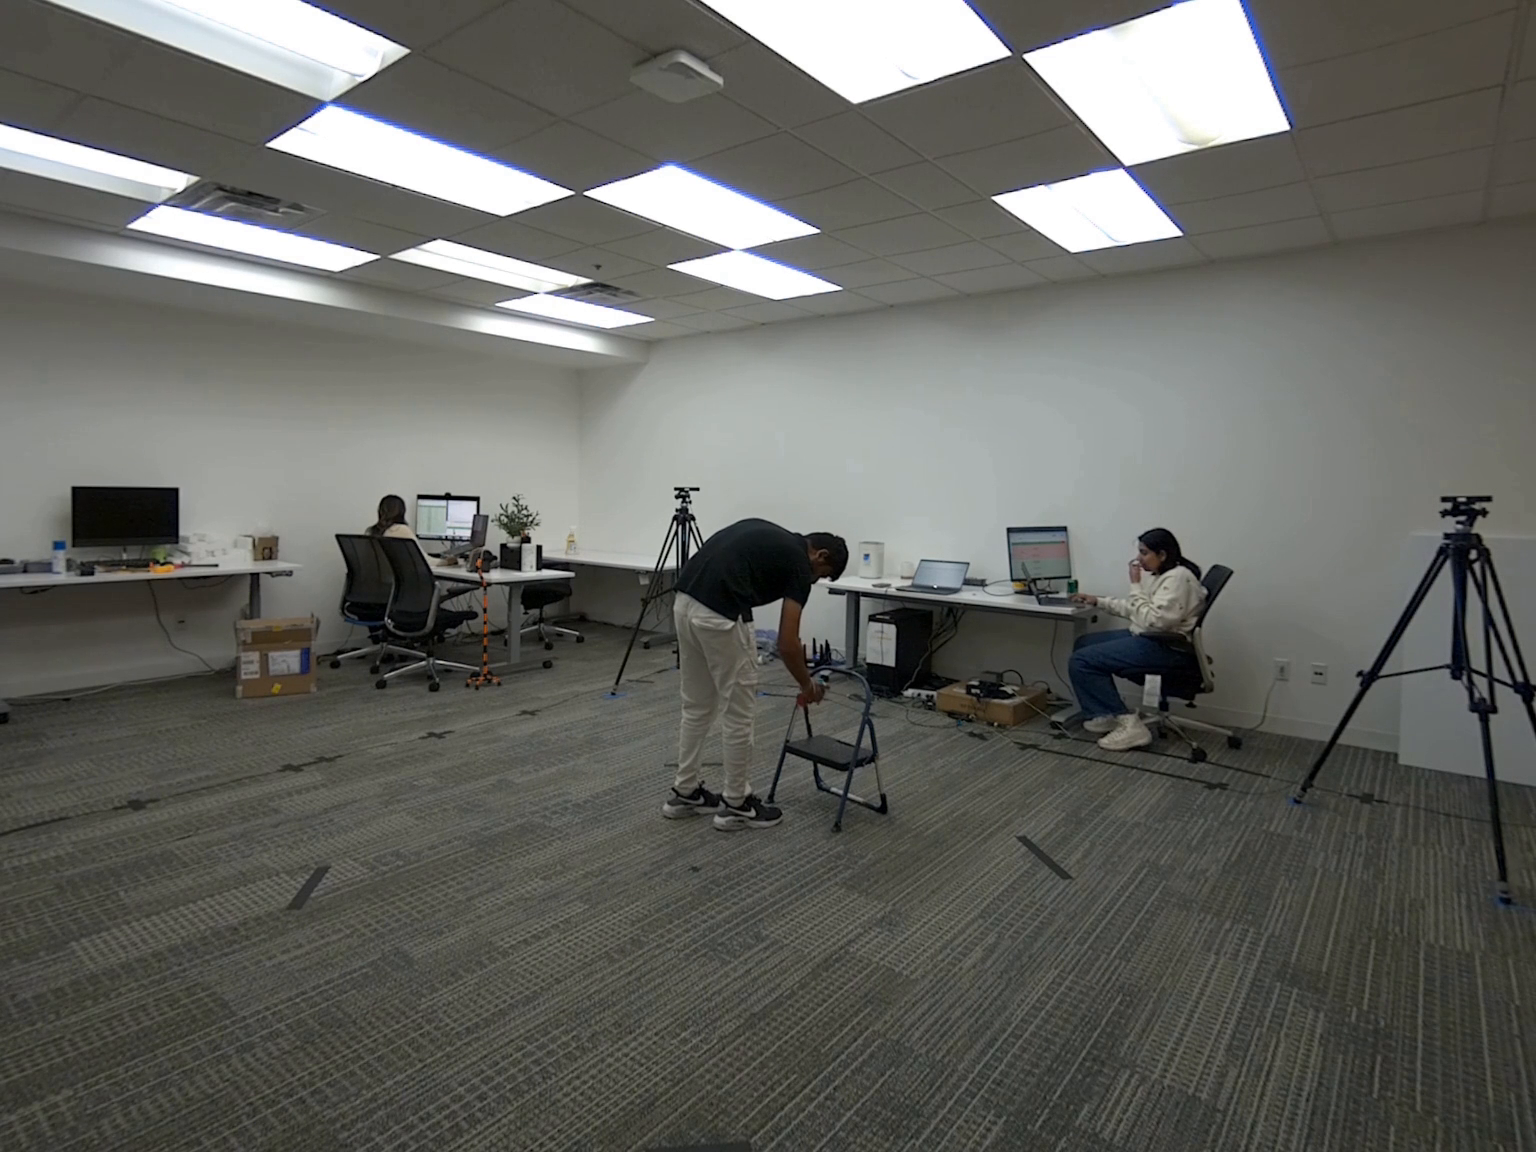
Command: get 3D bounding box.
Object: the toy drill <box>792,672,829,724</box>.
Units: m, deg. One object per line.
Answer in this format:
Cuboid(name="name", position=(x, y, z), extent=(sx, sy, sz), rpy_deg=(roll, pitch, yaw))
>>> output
Cuboid(name="toy drill", position=(0.183, 0.532, 3.683), extent=(0.144, 0.165, 0.064), rpy_deg=(-25, 37, -28))
